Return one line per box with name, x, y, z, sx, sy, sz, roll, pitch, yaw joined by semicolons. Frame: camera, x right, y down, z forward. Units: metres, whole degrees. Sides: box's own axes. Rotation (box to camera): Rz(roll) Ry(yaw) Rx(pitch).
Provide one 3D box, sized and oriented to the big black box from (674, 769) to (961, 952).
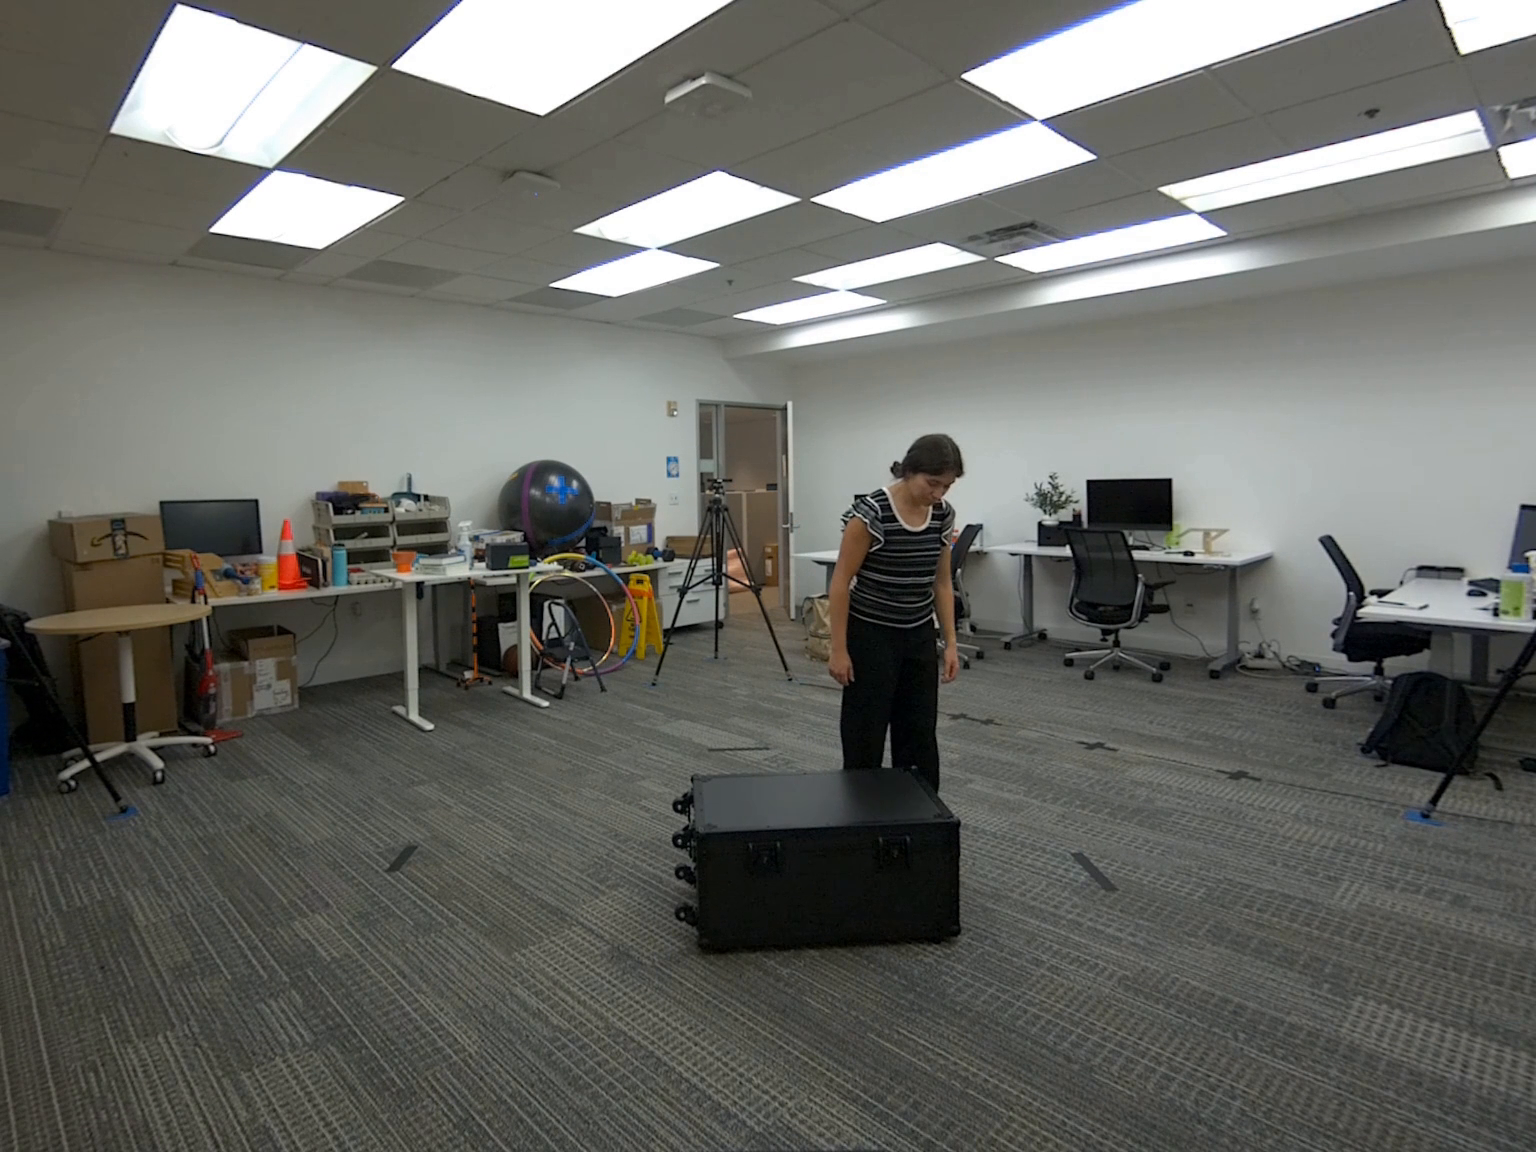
big black box;0.119;0.889;2.754;0.858;0.395;0.526;-1;5;-5
